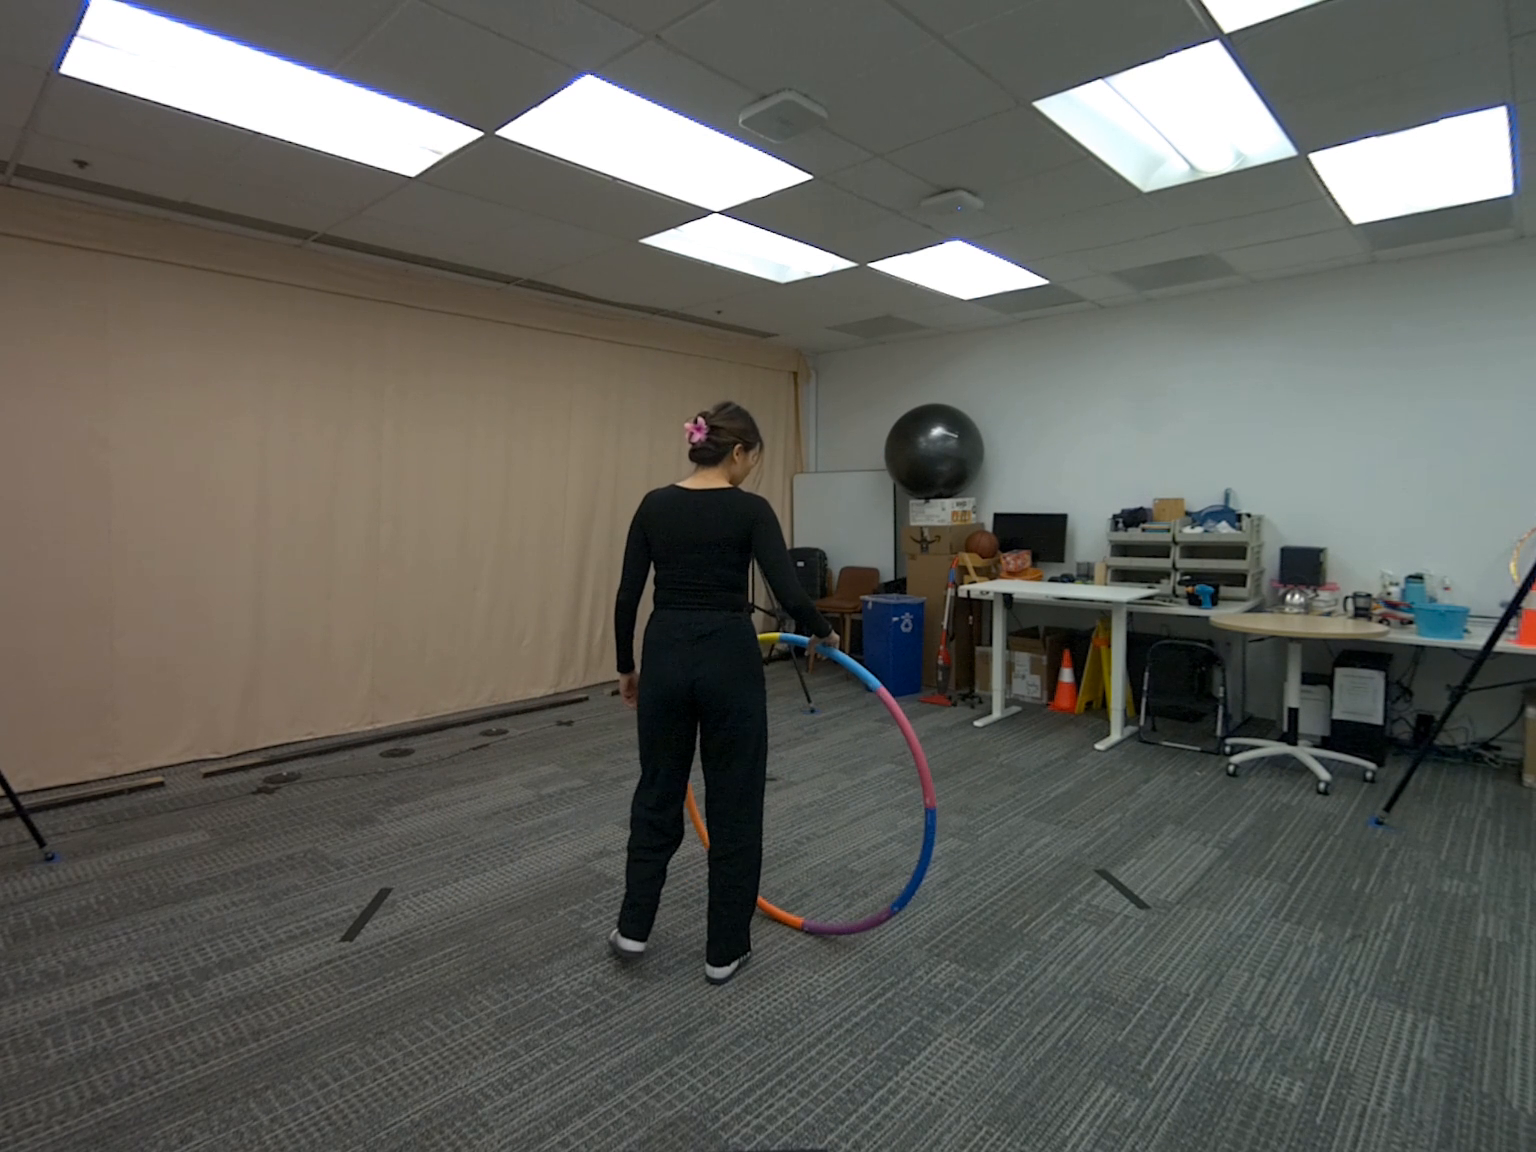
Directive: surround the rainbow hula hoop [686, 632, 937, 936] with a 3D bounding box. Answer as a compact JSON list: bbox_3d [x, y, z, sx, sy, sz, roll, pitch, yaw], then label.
[{"bbox_3d":[0.080,0.677,2.738,1.010,0.975,0.034,3,6,38],"label":"rainbow hula hoop"}]
